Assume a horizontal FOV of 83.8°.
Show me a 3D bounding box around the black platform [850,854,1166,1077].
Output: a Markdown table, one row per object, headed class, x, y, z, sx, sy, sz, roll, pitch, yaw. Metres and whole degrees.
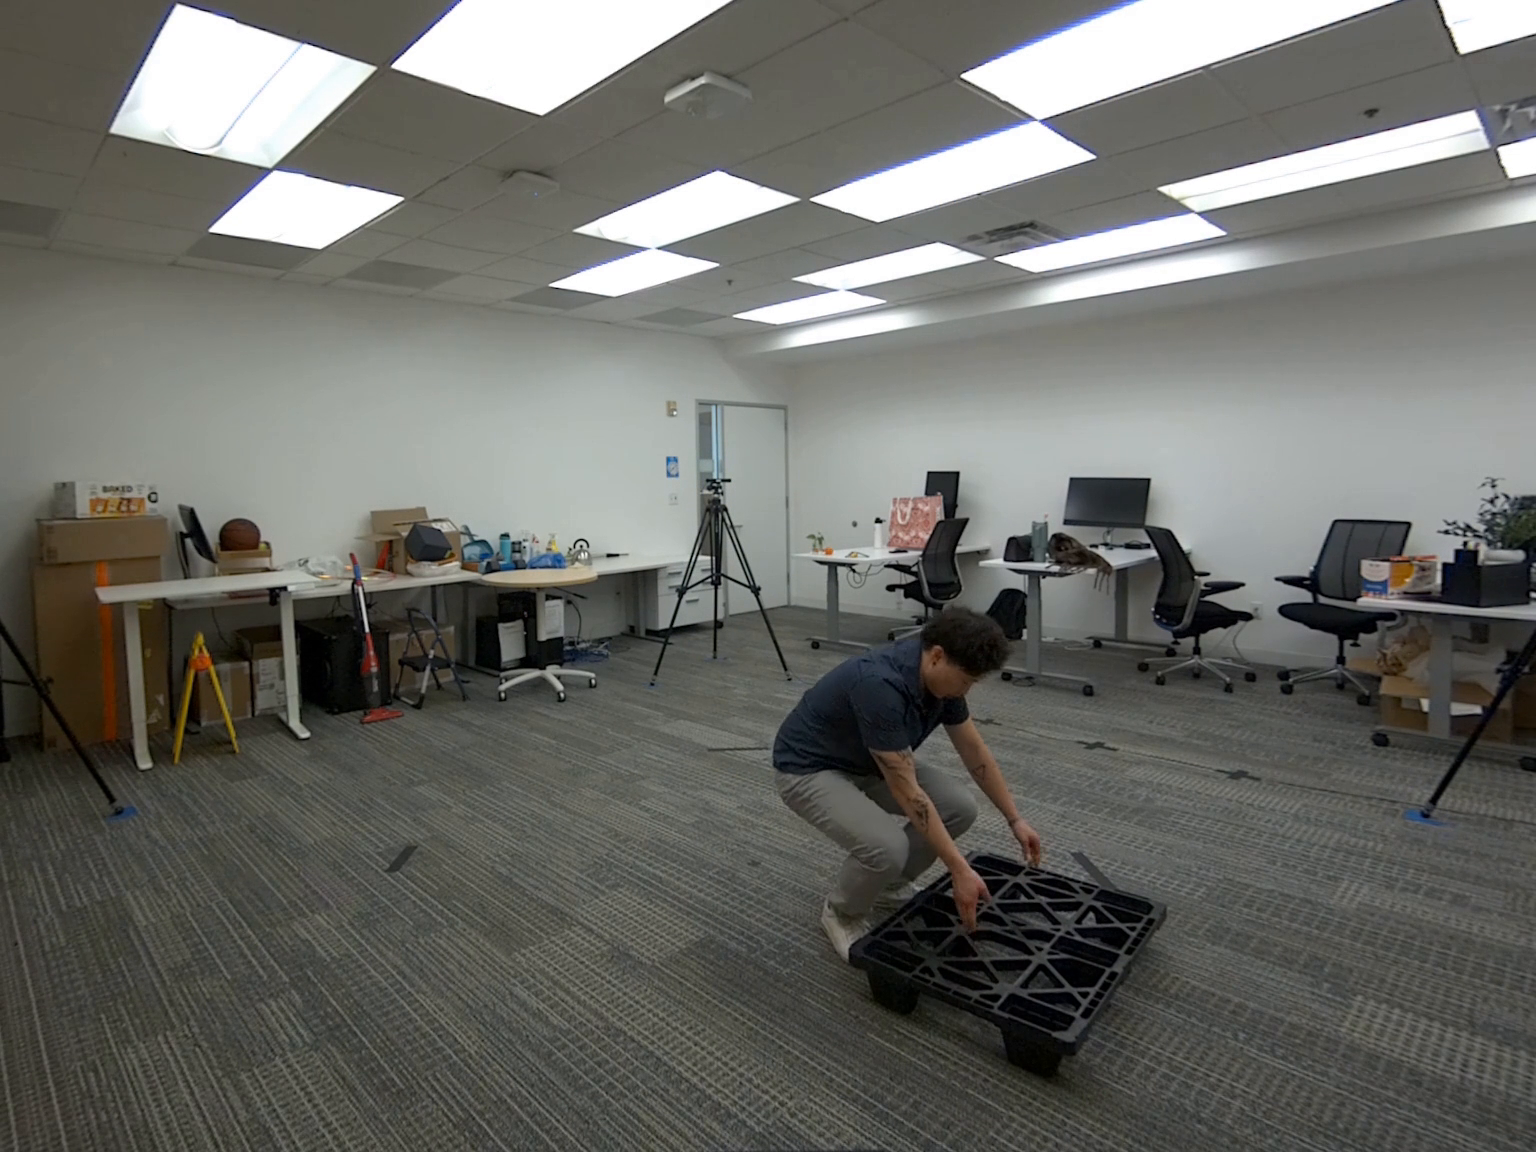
| class | x | y | z | sx | sy | sz | roll | pitch | yaw |
| --- | --- | --- | --- | --- | --- | --- | --- | --- | --- |
| black platform | 0.699 | 1.046 | 2.393 | 0.624 | 0.142 | 0.785 | 5 | 9 | 39 |
